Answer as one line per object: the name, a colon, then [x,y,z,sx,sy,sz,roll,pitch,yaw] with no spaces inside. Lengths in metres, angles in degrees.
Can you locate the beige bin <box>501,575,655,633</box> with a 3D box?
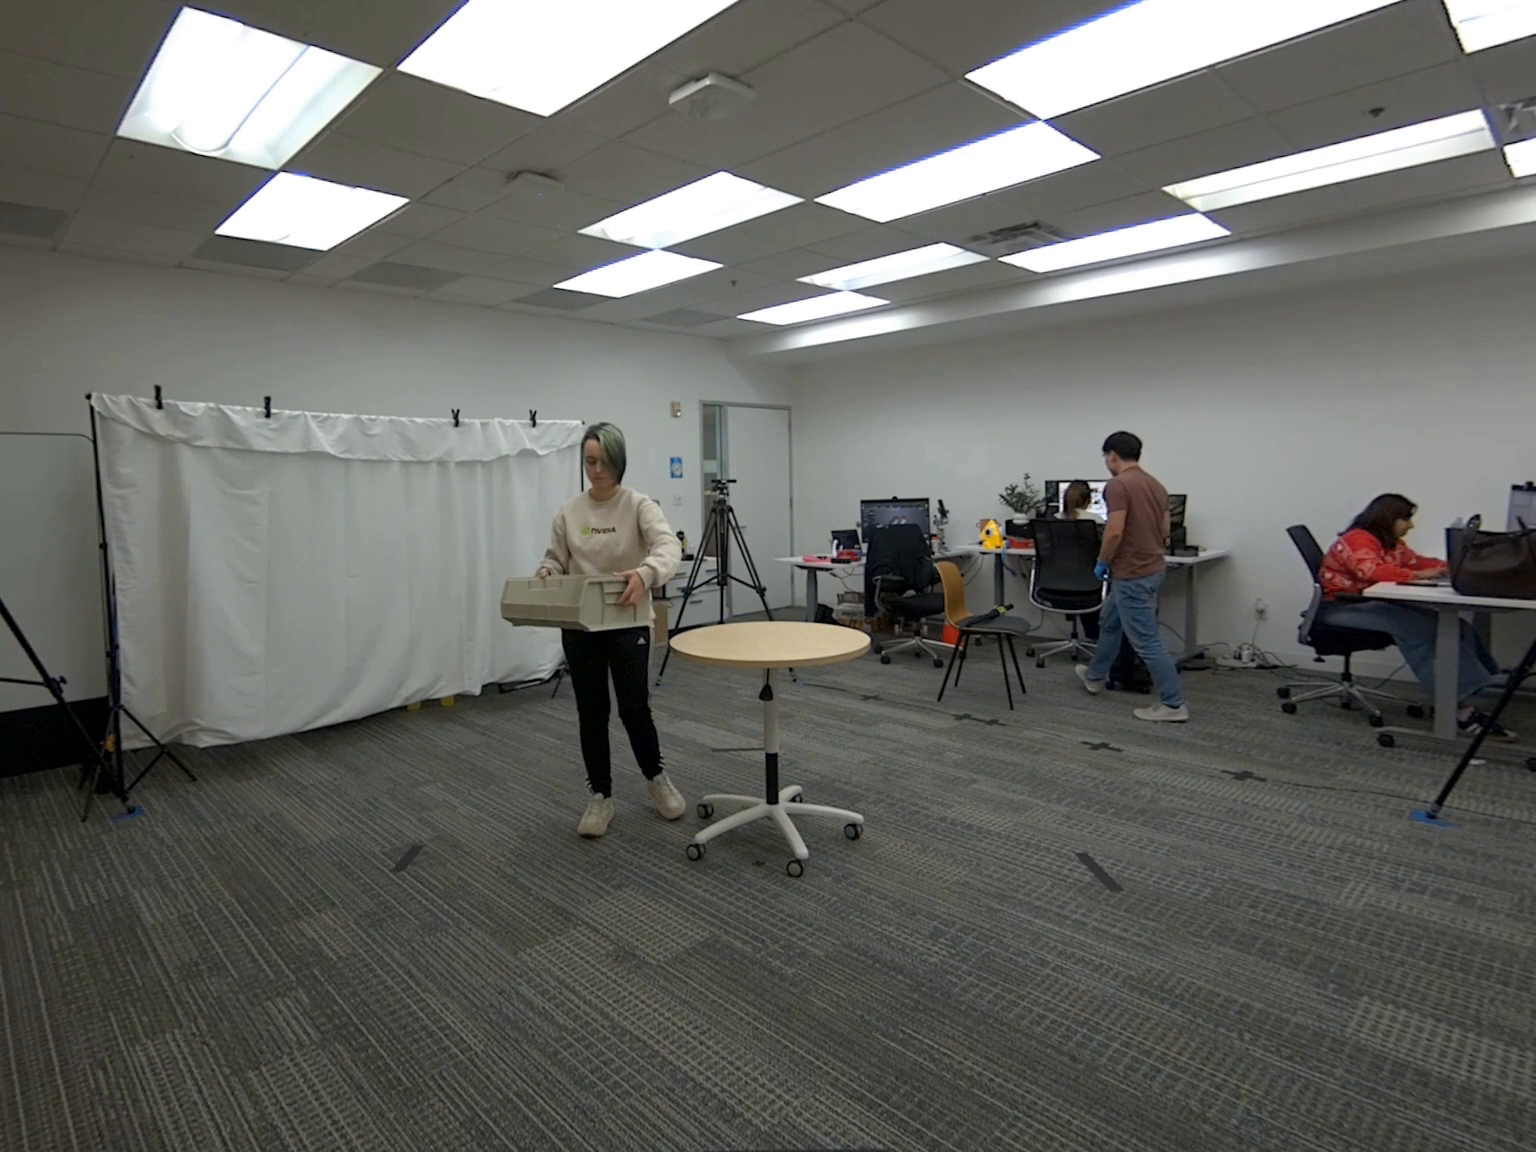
beige bin: [-0.693,0.093,3.106,0.434,0.189,0.367,0,0,36]
